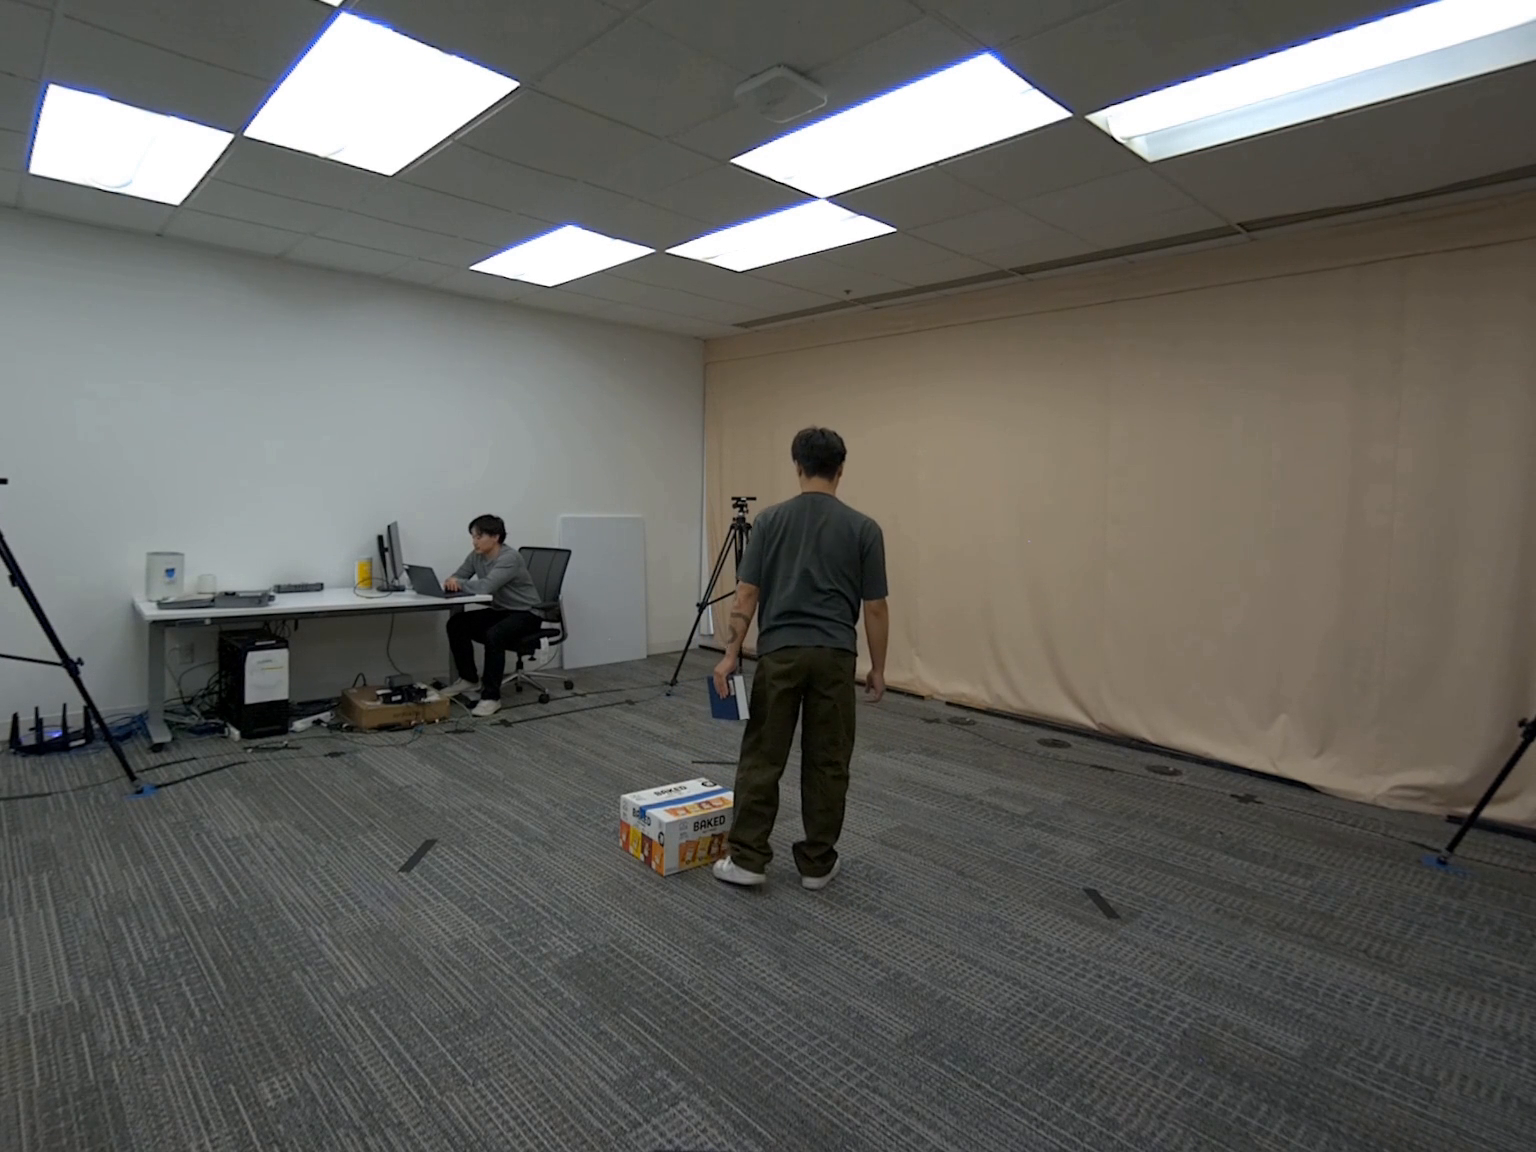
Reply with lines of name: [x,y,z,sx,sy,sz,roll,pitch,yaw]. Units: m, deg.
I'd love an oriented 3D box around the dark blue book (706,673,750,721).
dark blue book: [-0.151,0.446,3.093,0.044,0.164,0.248,-4,-5,-27]
